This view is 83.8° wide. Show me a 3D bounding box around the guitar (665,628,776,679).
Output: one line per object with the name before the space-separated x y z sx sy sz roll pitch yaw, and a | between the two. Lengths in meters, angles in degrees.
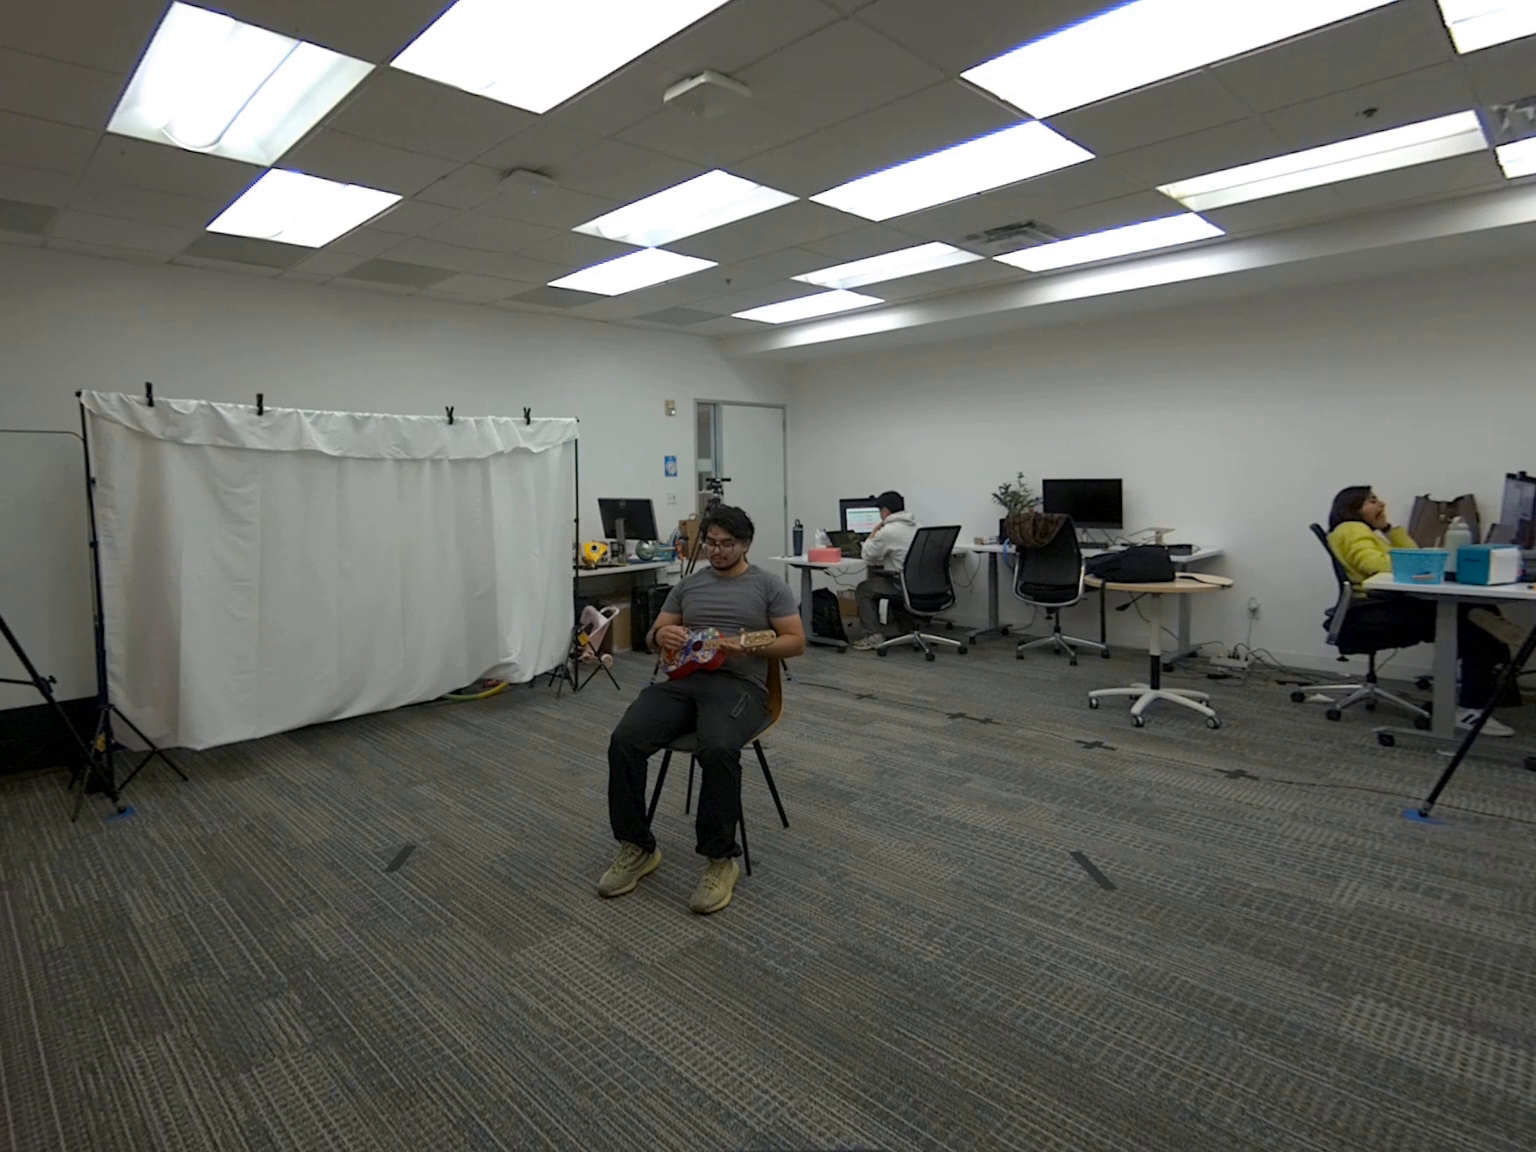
guitar | -0.201 0.287 3.125 0.511 0.195 0.068 -1 -33 35
